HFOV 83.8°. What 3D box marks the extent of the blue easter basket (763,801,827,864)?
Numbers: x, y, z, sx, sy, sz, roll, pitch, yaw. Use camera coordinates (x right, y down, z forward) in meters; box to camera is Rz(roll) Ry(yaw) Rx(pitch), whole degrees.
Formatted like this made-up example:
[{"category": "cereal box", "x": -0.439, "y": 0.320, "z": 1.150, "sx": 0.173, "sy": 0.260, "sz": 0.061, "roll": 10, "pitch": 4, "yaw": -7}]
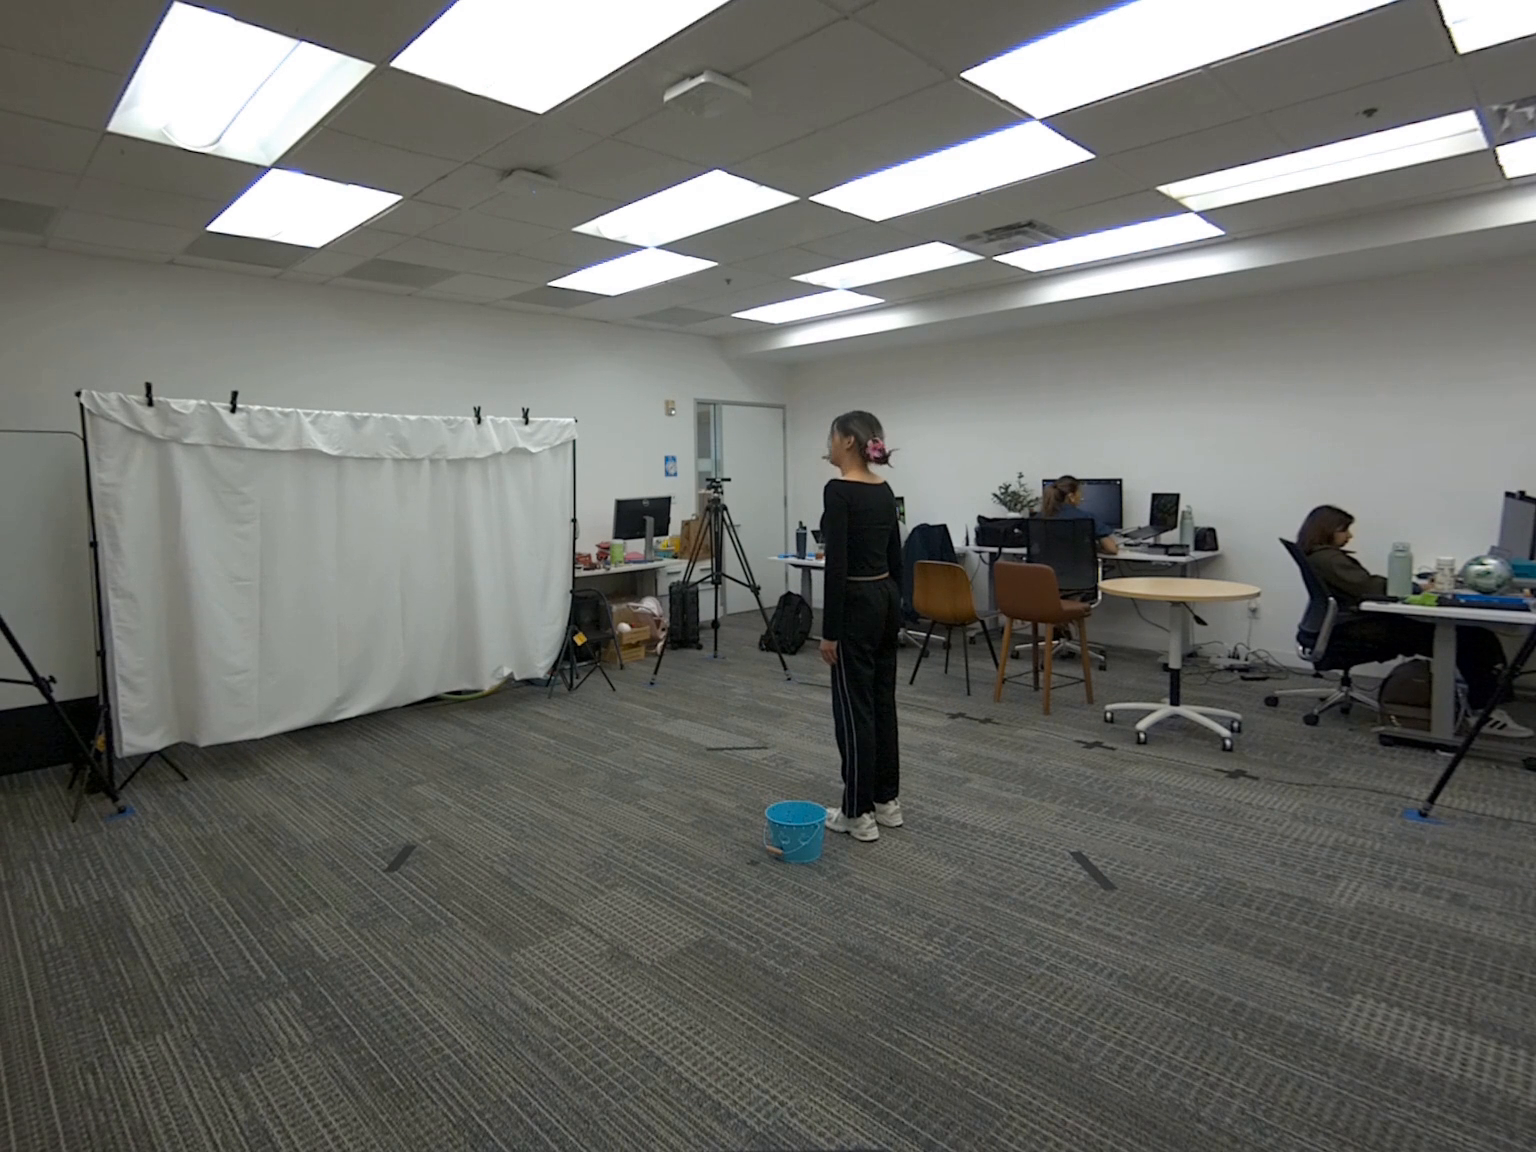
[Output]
[{"category": "blue easter basket", "x": 0.104, "y": 0.954, "z": 3.187, "sx": 0.243, "sy": 0.155, "sz": 0.245, "roll": 0, "pitch": 5, "yaw": -2}]
